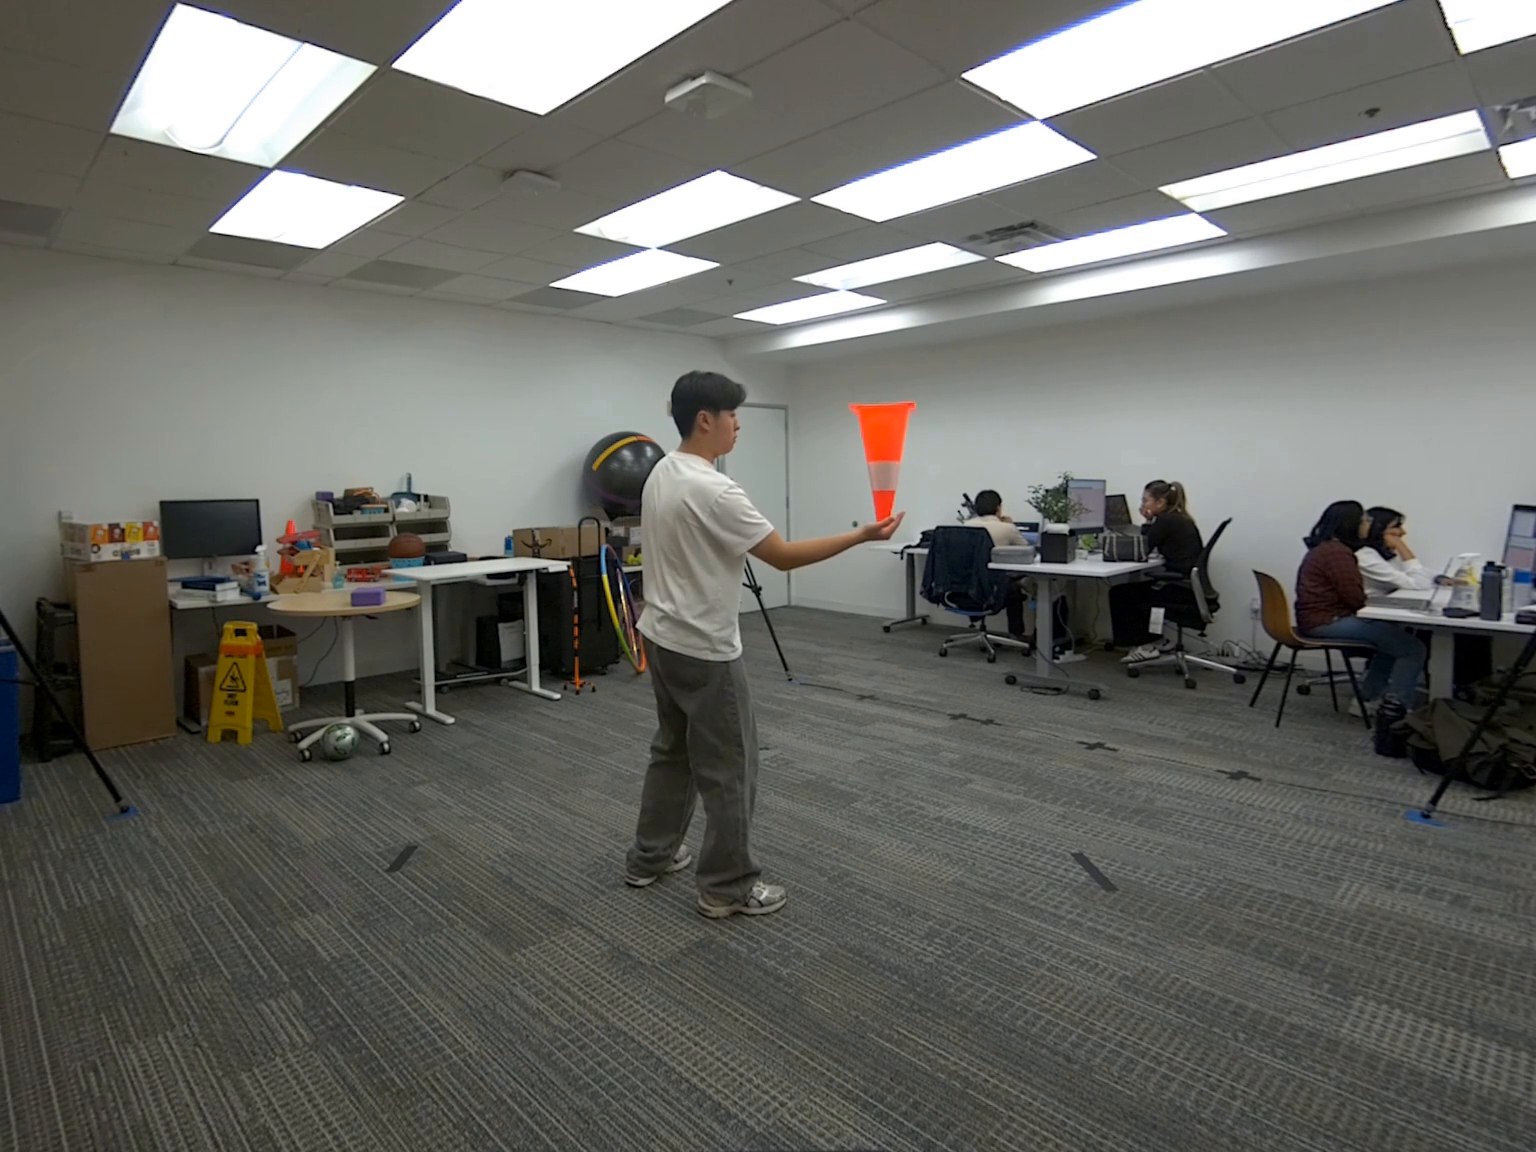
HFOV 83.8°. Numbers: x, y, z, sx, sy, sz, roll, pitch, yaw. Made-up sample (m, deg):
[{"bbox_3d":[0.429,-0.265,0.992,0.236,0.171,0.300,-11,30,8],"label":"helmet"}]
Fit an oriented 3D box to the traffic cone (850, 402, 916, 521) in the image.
[{"bbox_3d":[0.360,-0.330,2.654,0.208,0.383,0.201,-1,2,14],"label":"traffic cone"}]
